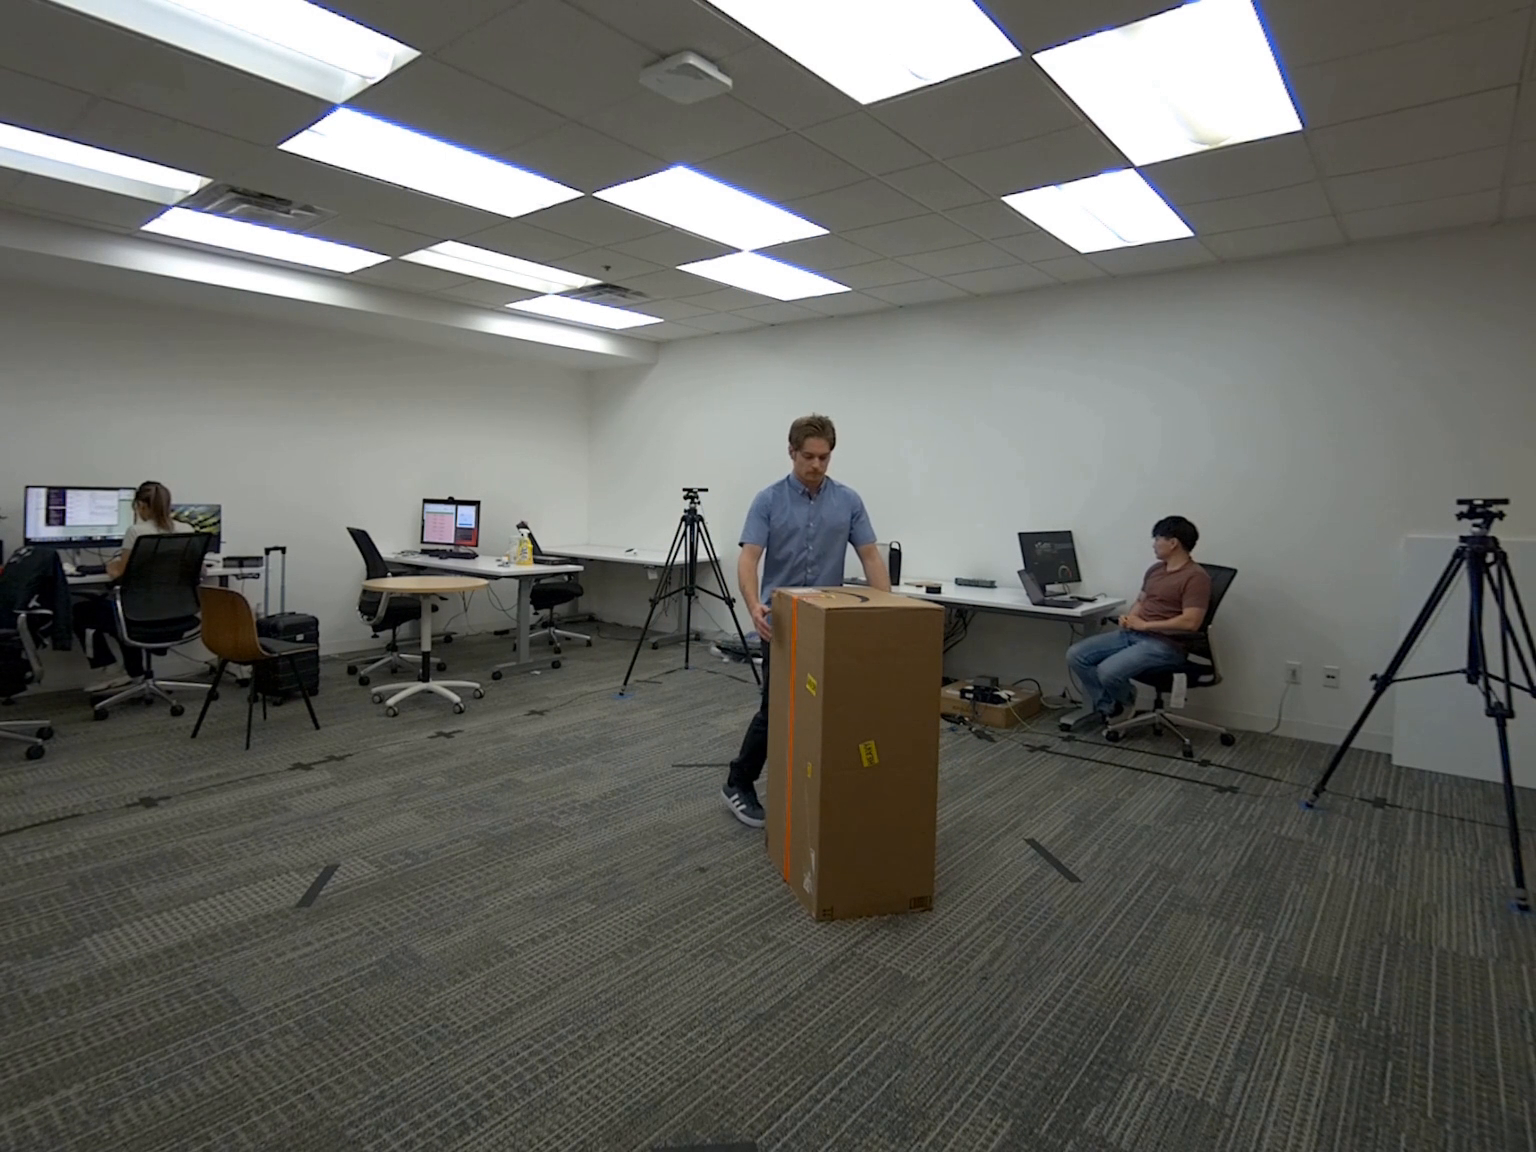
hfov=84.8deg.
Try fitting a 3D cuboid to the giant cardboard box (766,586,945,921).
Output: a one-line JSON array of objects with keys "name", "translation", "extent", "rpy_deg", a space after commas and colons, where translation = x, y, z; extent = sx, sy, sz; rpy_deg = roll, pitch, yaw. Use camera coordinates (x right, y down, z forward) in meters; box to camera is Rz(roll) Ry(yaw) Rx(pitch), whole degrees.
[{"name": "giant cardboard box", "translation": [0.284, 0.582, 3.029], "extent": [0.440, 1.023, 0.595], "rpy_deg": [0, 5, -15]}]
